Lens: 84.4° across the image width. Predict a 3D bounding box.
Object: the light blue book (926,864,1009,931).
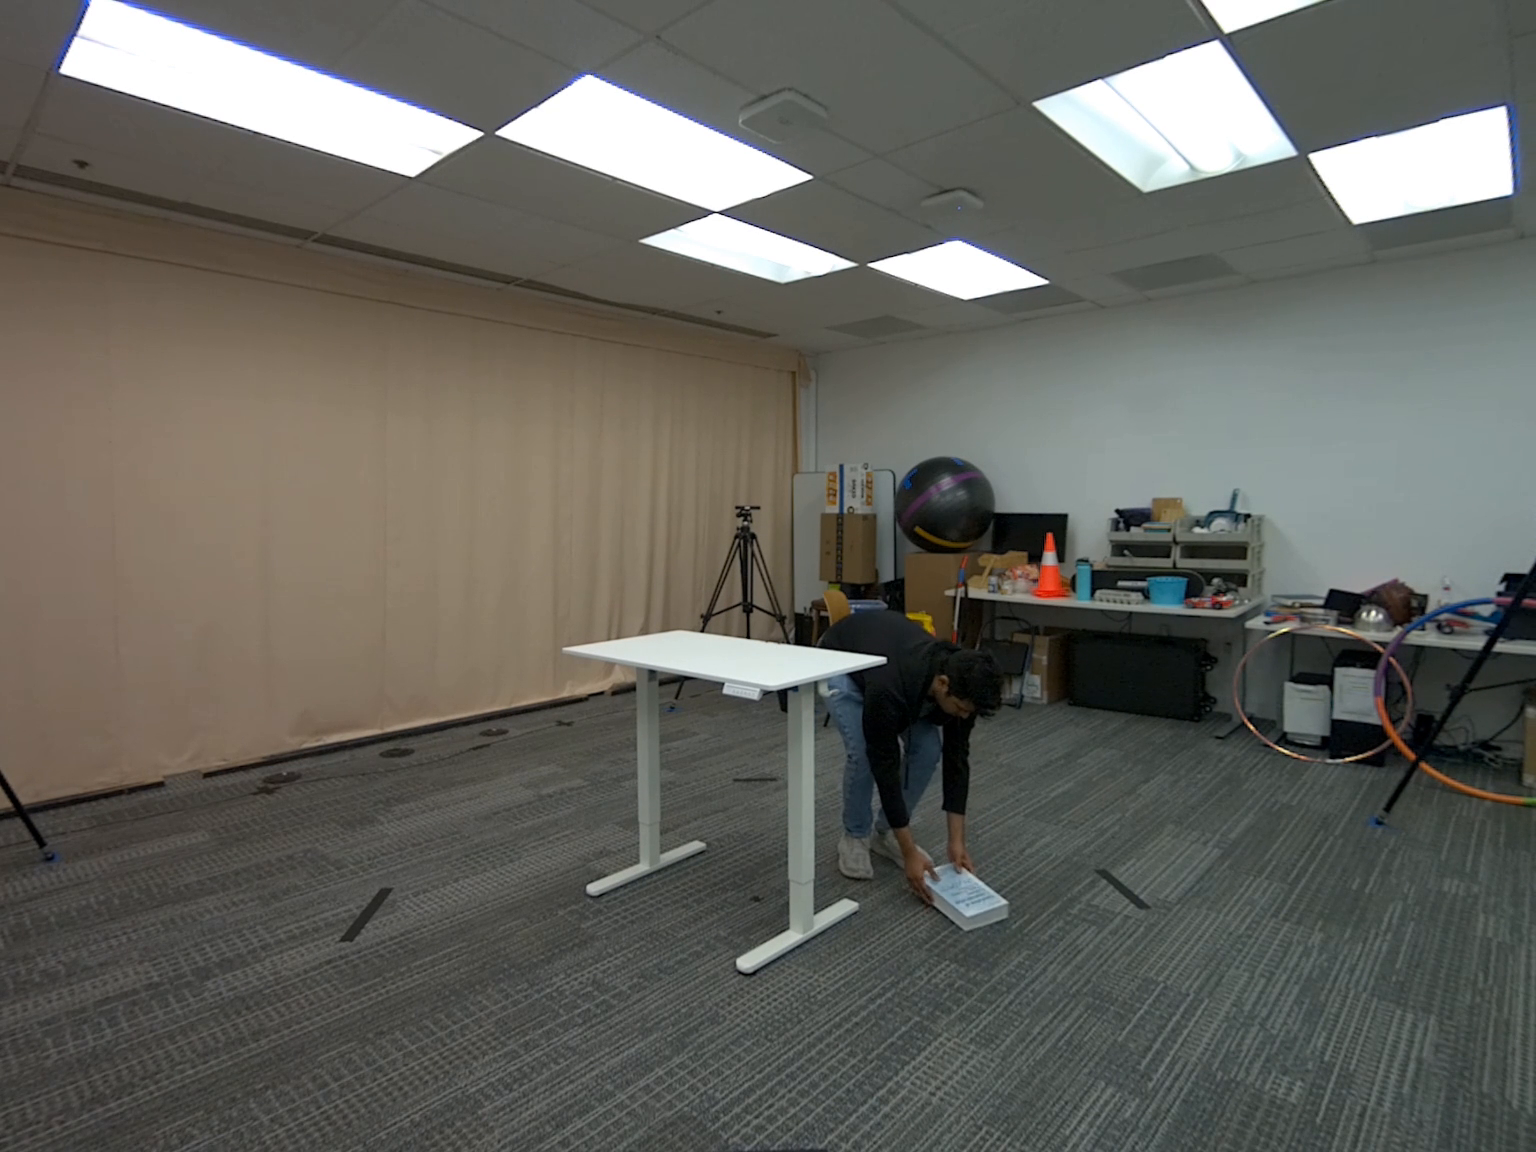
[{"bbox_3d":[0.672,1.091,2.900,0.187,0.058,0.269,-6,16,-27],"label":"light blue book"}]
